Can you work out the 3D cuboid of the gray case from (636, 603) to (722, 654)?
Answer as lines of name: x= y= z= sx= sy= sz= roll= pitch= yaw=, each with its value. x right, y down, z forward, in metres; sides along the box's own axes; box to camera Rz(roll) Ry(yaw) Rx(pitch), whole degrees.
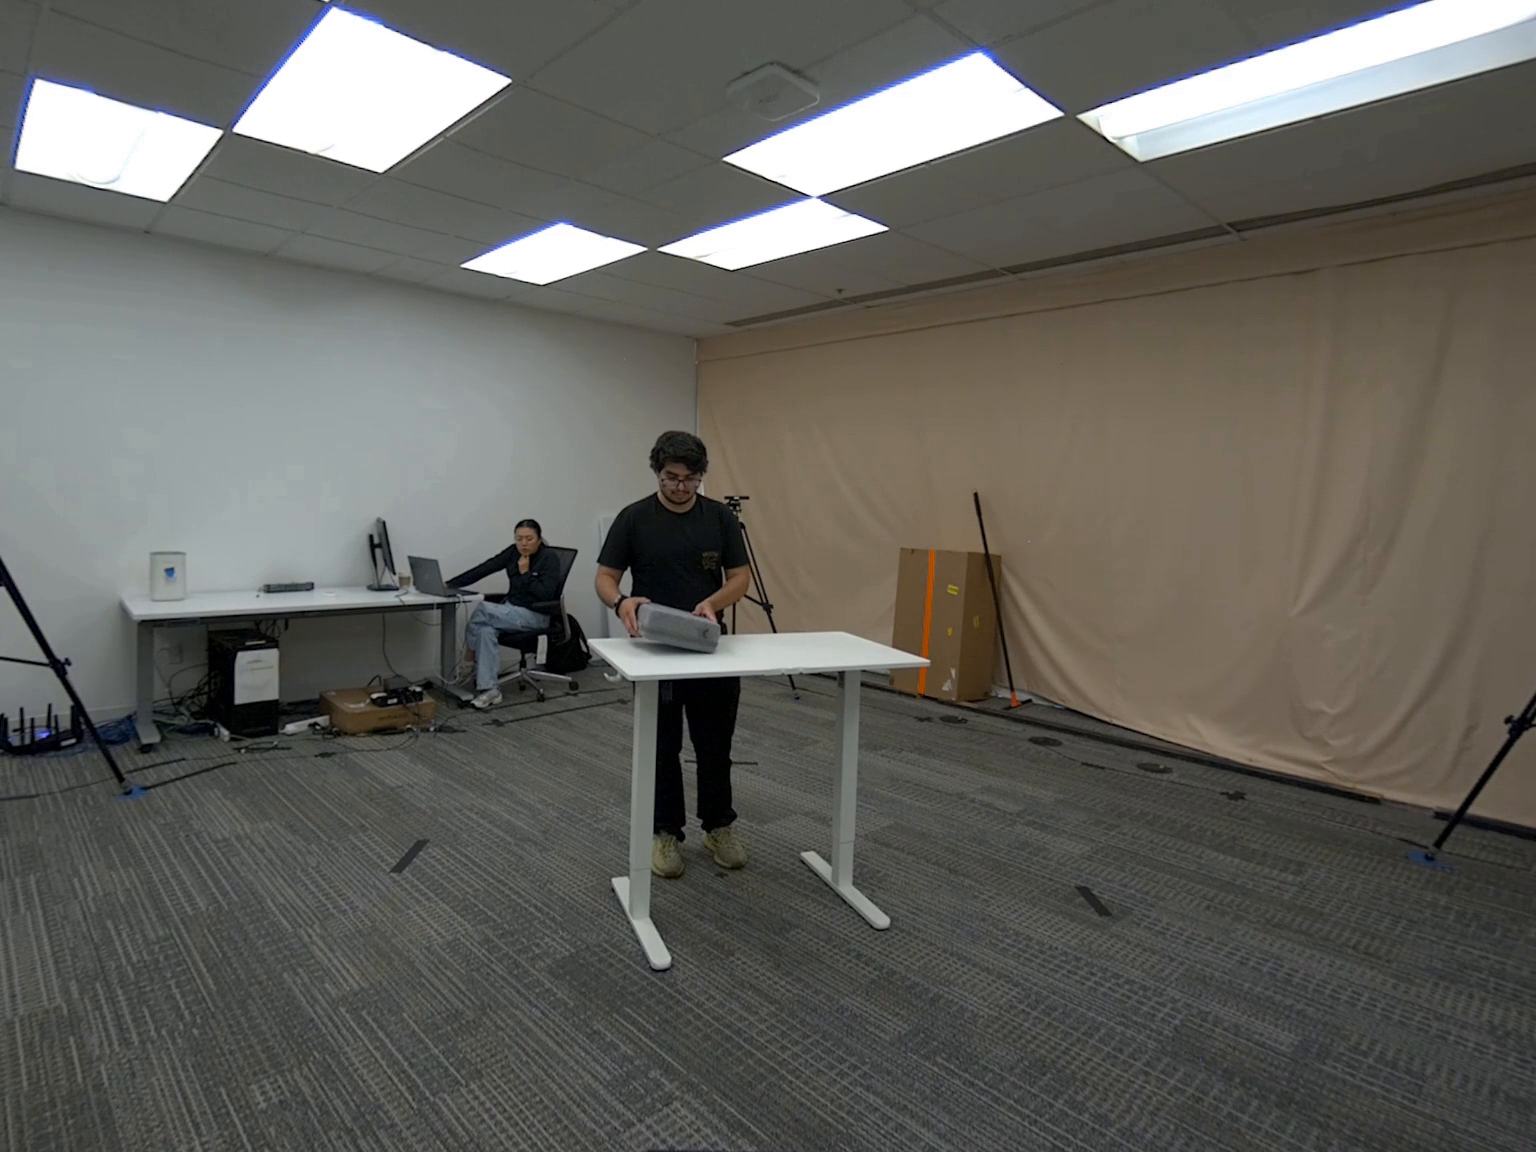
gray case: x=-0.315 y=0.170 z=2.796 sx=0.257 sy=0.104 sz=0.261 roll=17 pitch=0 yaw=-17
